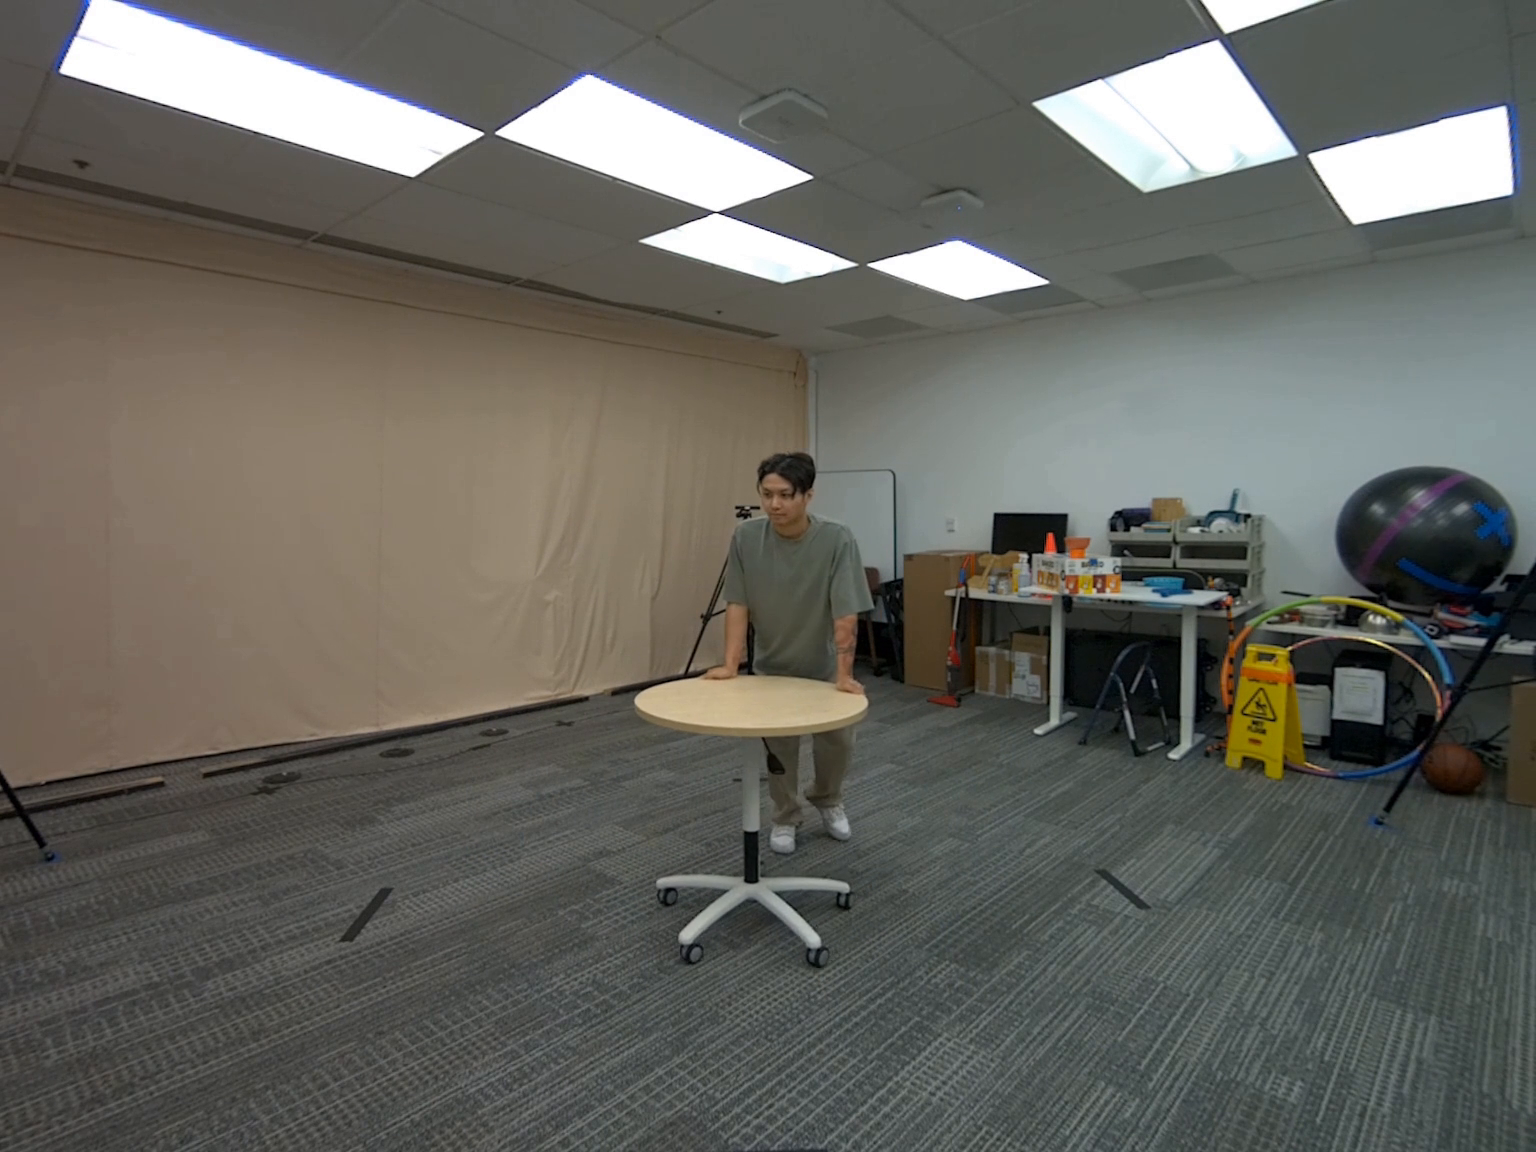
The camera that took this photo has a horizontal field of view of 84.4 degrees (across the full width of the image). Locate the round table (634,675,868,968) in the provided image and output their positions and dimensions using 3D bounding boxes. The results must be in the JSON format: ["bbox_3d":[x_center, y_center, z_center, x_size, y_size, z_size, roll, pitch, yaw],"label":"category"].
[{"bbox_3d":[-0.065,0.777,2.820,0.784,0.785,0.788,0,3,-2],"label":"round table"}]
